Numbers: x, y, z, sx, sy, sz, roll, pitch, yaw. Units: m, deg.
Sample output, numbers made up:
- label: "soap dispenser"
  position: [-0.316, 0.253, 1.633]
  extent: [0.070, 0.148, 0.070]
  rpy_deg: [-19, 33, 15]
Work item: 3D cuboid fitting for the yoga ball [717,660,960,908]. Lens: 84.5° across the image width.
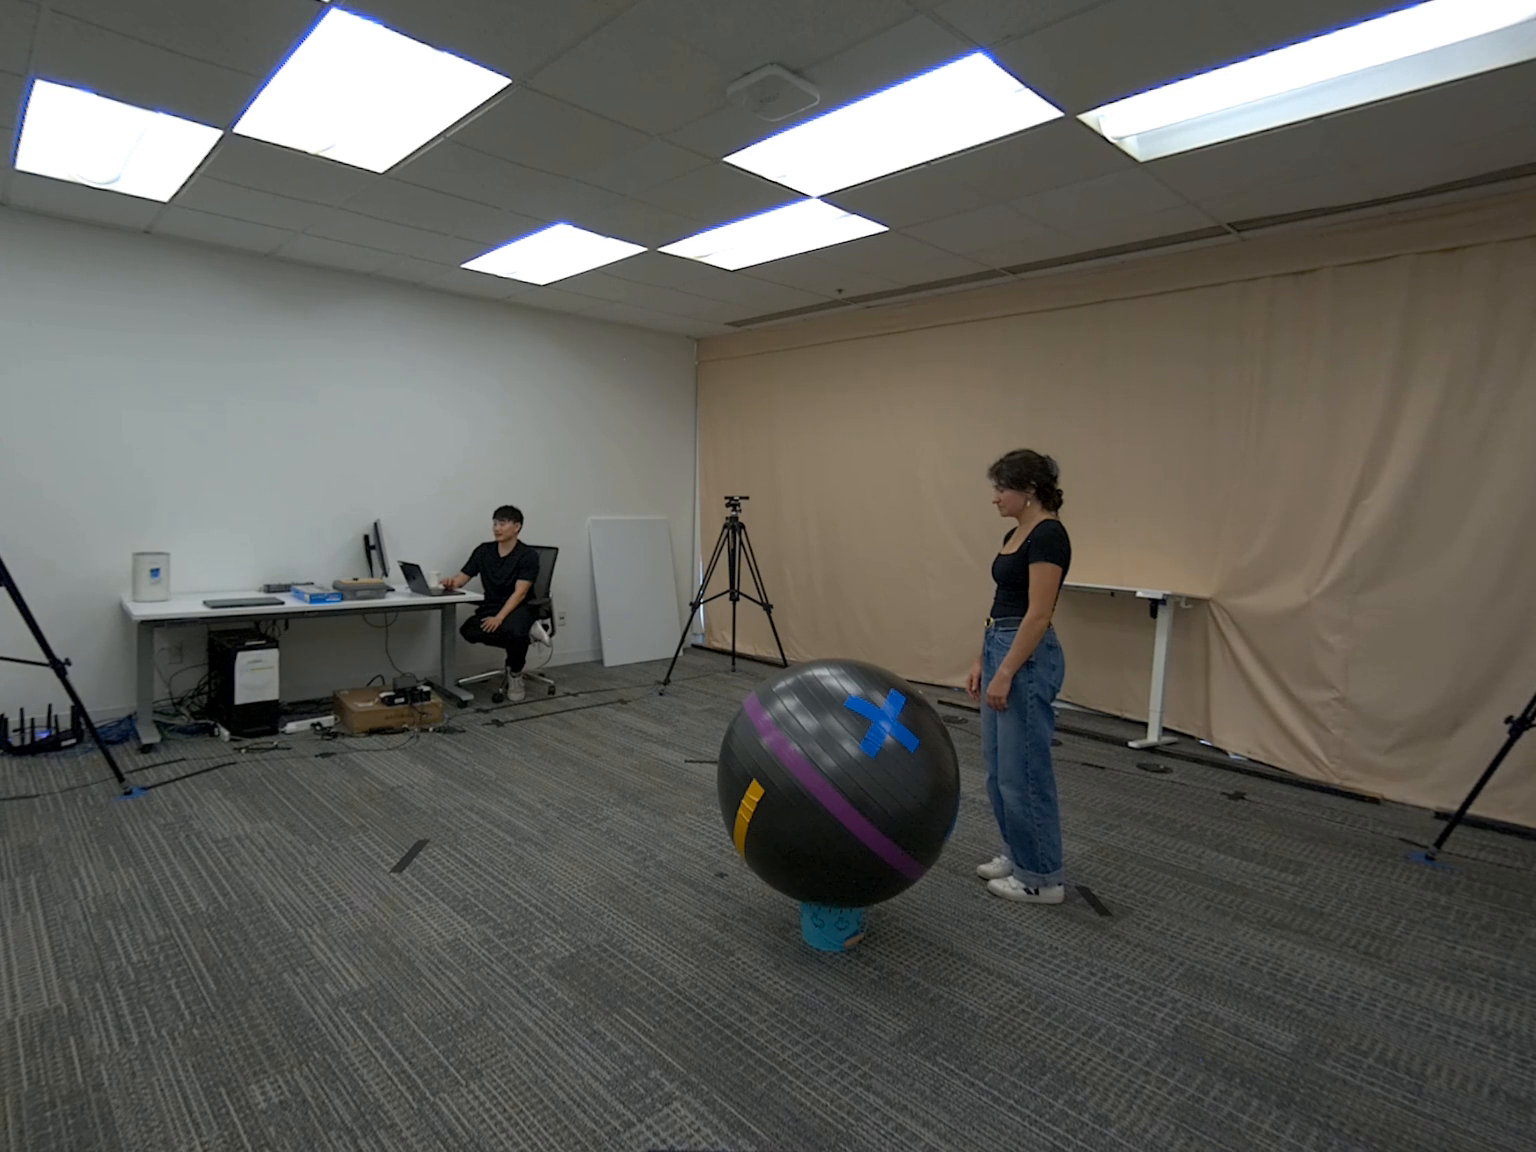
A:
- label: "yoga ball"
  position: [0.225, 0.649, 2.650]
  extent: [0.757, 0.756, 0.761]
  rpy_deg: [1, 4, -1]
